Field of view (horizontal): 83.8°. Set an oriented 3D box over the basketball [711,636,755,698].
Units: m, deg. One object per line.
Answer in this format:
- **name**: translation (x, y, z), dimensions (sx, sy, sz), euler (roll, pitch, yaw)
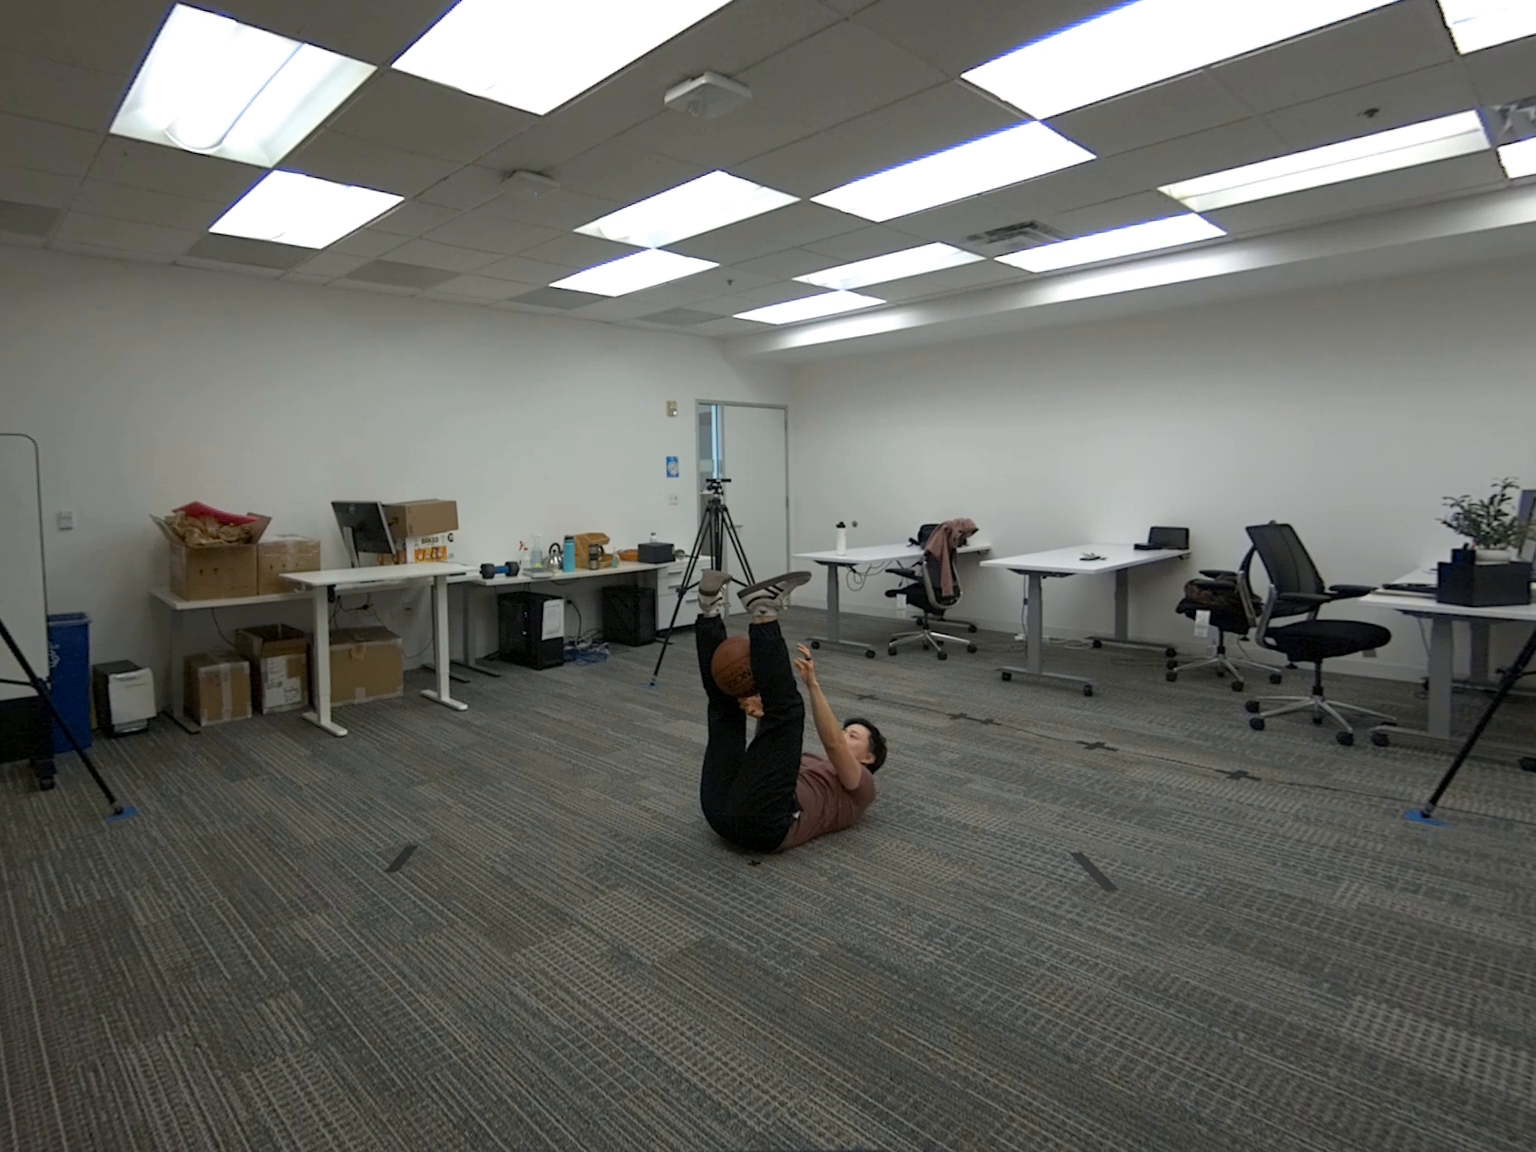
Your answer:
- **basketball**: translation (-0.094, 0.347, 3.241), dimensions (0.236, 0.235, 0.237), euler (-2, 5, -2)
